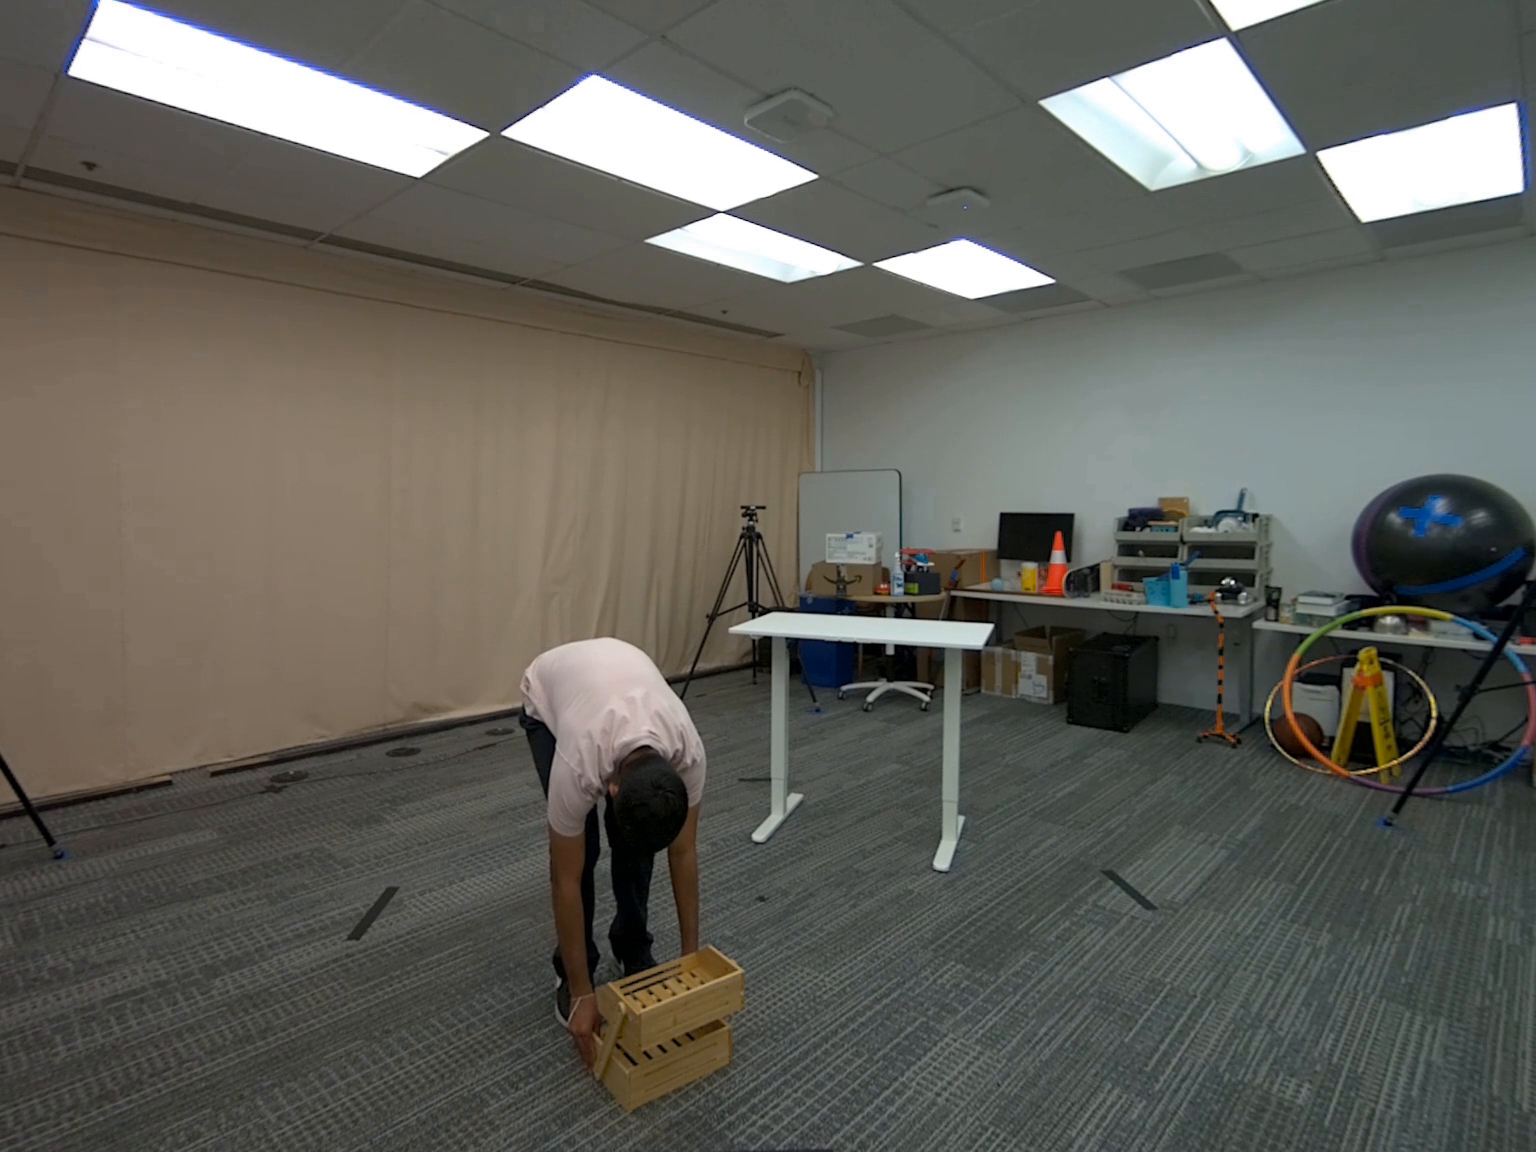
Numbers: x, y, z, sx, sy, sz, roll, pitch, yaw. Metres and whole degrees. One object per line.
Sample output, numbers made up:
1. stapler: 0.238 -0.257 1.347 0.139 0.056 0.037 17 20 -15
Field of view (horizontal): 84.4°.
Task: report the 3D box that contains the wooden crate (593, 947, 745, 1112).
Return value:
1. wooden crate: -0.263 1.084 2.087 0.315 0.273 0.312 -2 4 -38
